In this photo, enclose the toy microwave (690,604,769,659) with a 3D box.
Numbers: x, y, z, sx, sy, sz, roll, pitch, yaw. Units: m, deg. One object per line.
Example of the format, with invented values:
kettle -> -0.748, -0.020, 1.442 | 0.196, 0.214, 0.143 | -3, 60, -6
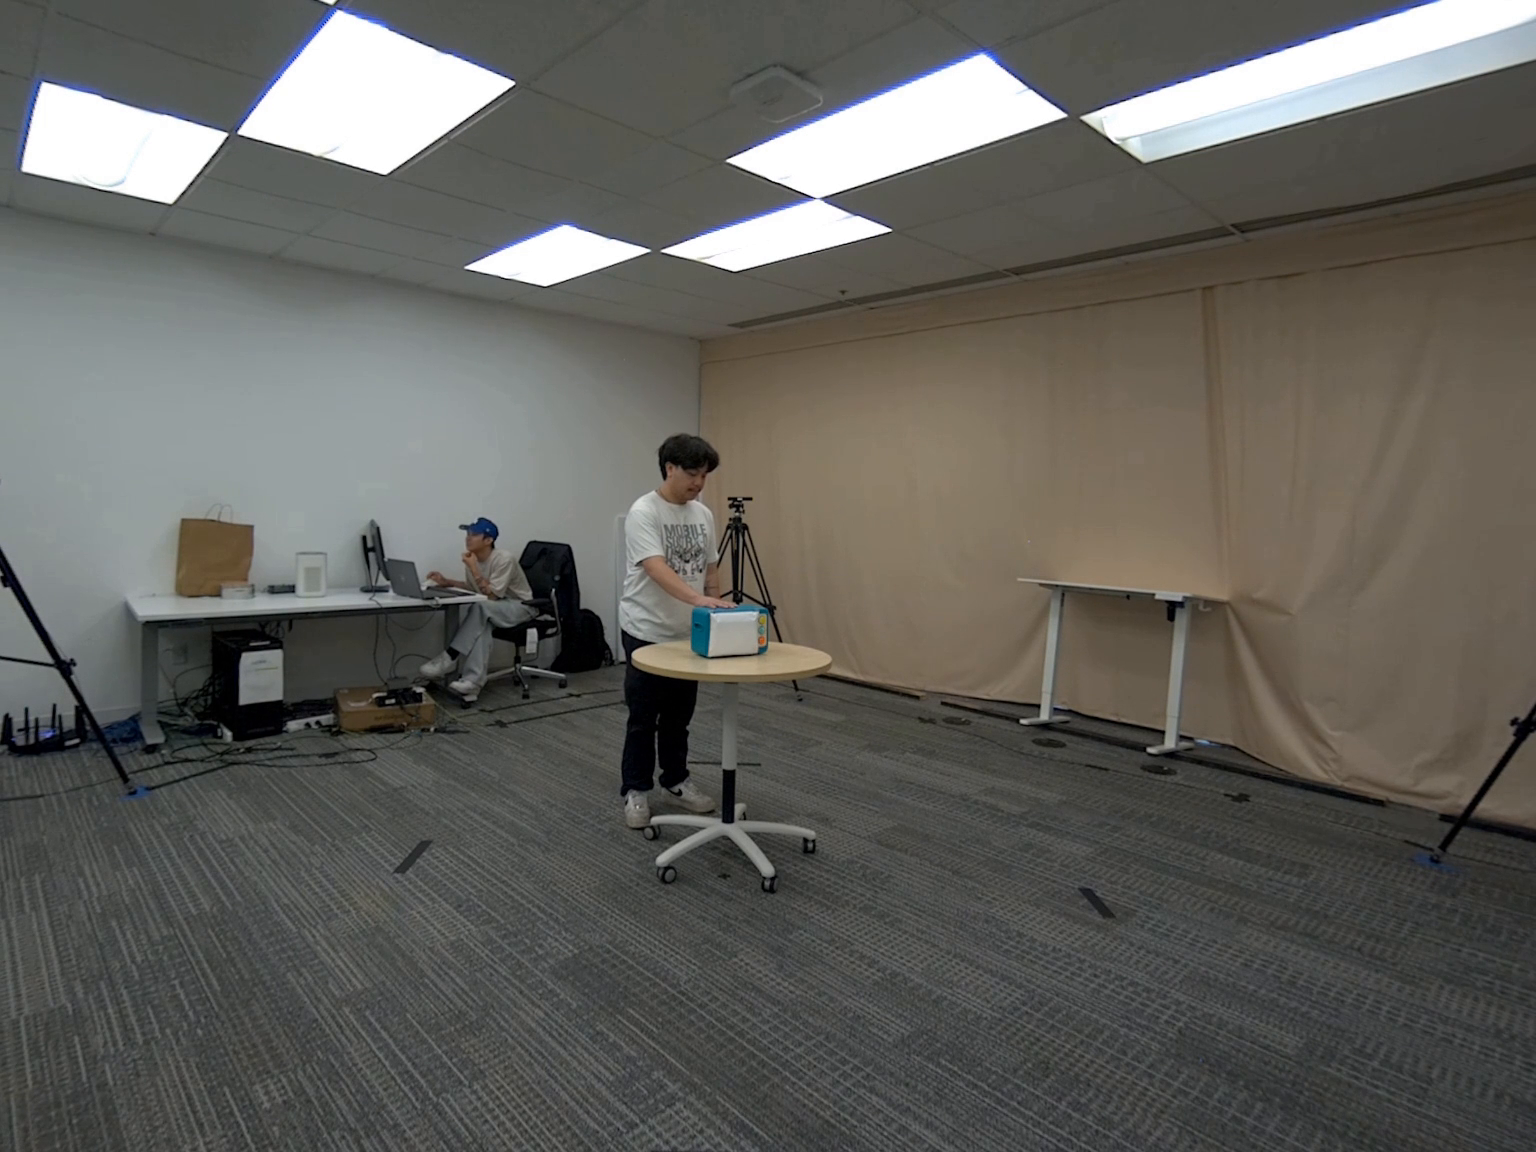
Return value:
toy microwave -> -0.149, 0.210, 3.238 | 0.280, 0.184, 0.156 | -1, 3, -29
